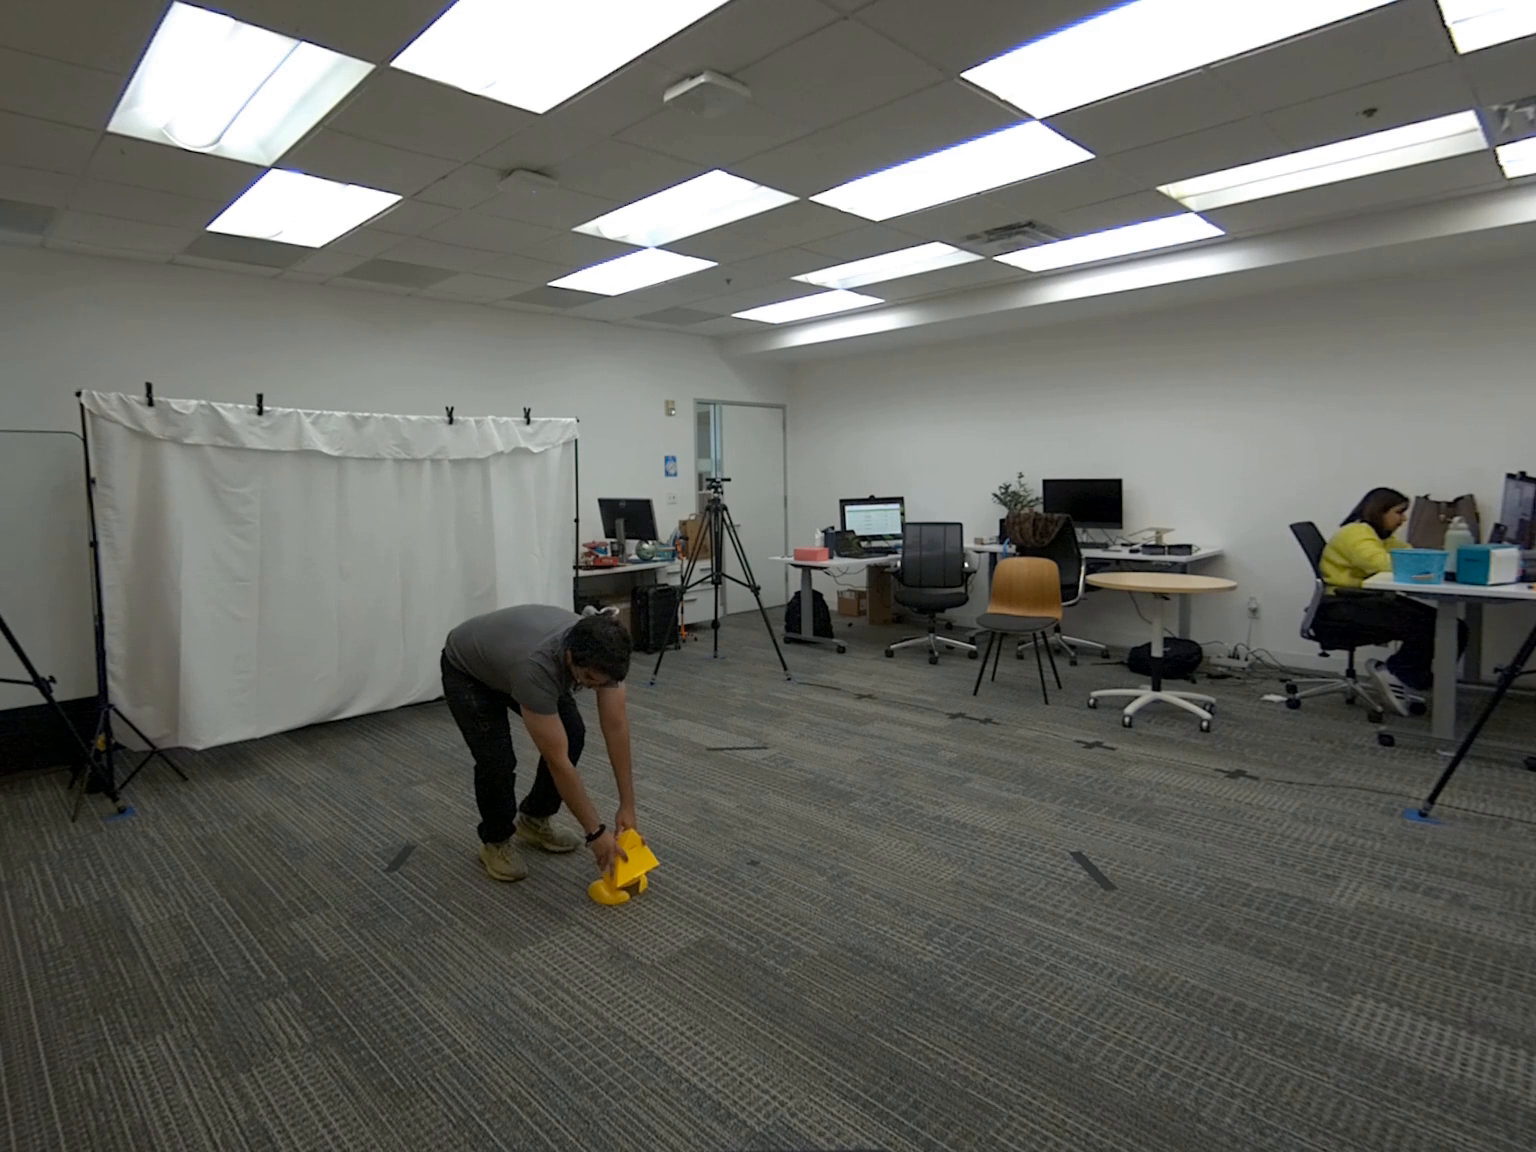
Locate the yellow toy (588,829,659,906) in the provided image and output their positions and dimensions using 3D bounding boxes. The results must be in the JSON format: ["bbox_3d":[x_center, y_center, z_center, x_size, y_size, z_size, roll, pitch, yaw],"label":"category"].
[{"bbox_3d":[-0.506,0.960,2.910,0.199,0.229,0.200,3,7,38],"label":"yellow toy"}]
